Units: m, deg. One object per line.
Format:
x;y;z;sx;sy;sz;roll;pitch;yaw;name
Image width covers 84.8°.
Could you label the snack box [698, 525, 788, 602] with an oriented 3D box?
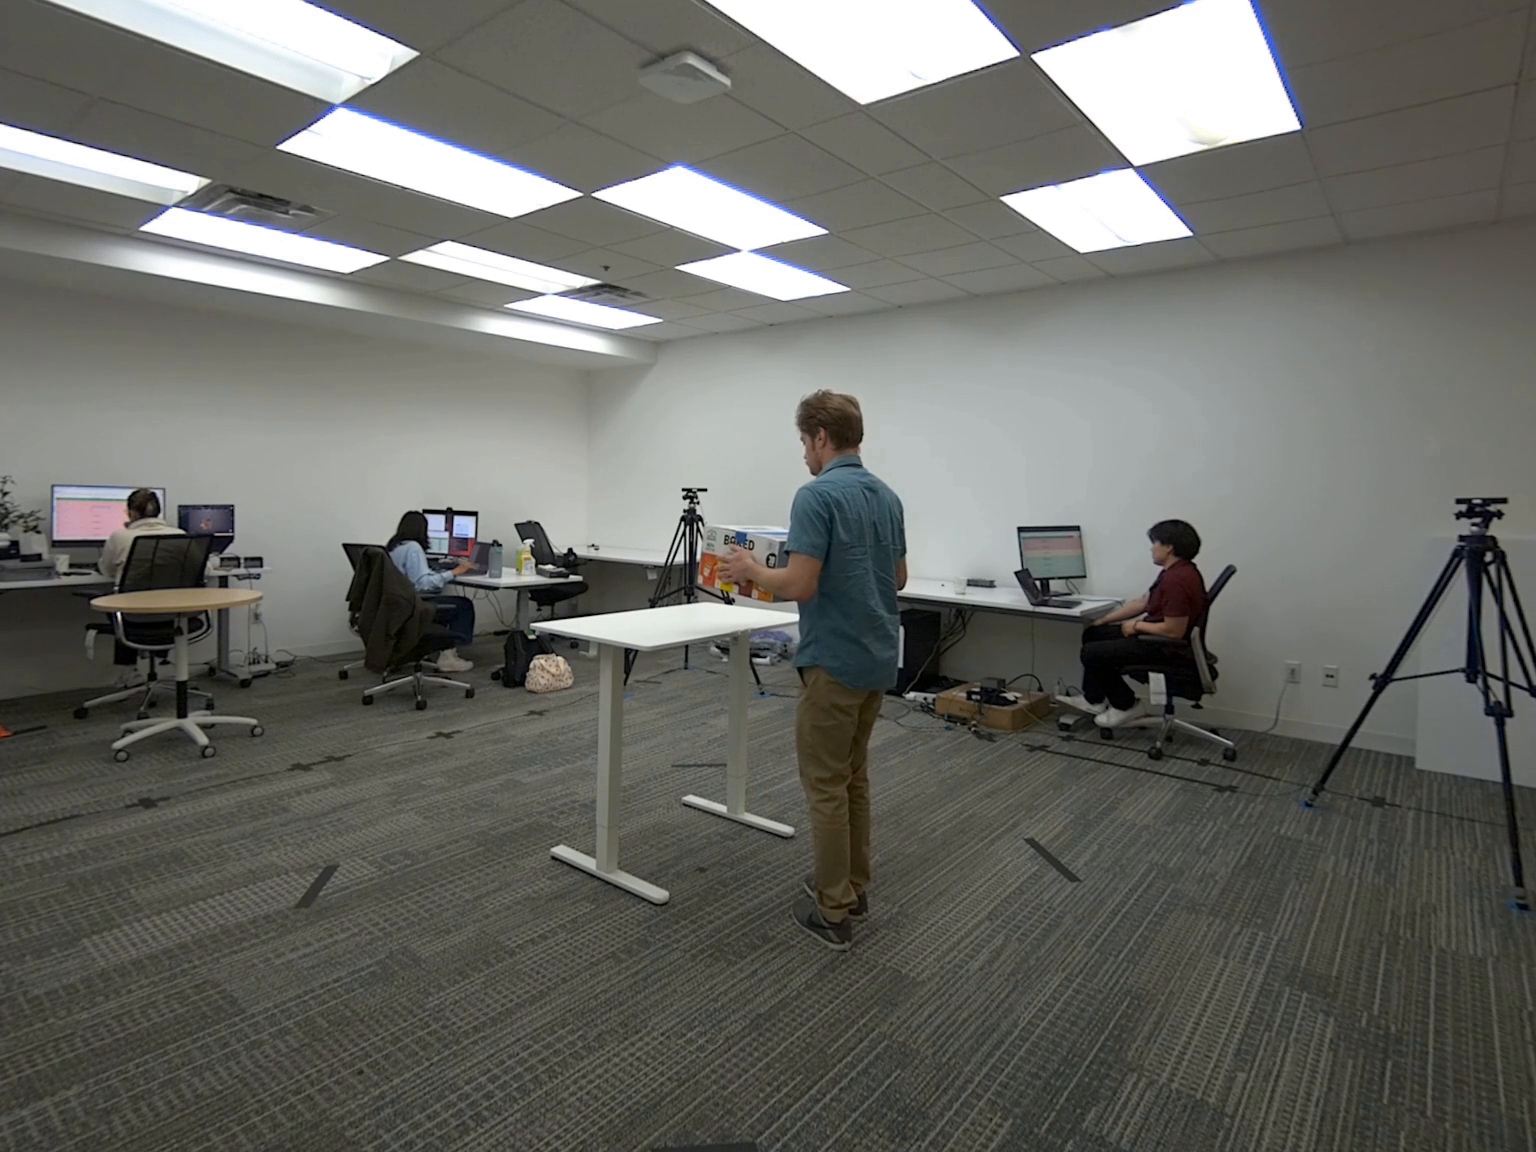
0.021;-0.051;2.930;0.353;0.204;0.392;14;10;41;snack box
